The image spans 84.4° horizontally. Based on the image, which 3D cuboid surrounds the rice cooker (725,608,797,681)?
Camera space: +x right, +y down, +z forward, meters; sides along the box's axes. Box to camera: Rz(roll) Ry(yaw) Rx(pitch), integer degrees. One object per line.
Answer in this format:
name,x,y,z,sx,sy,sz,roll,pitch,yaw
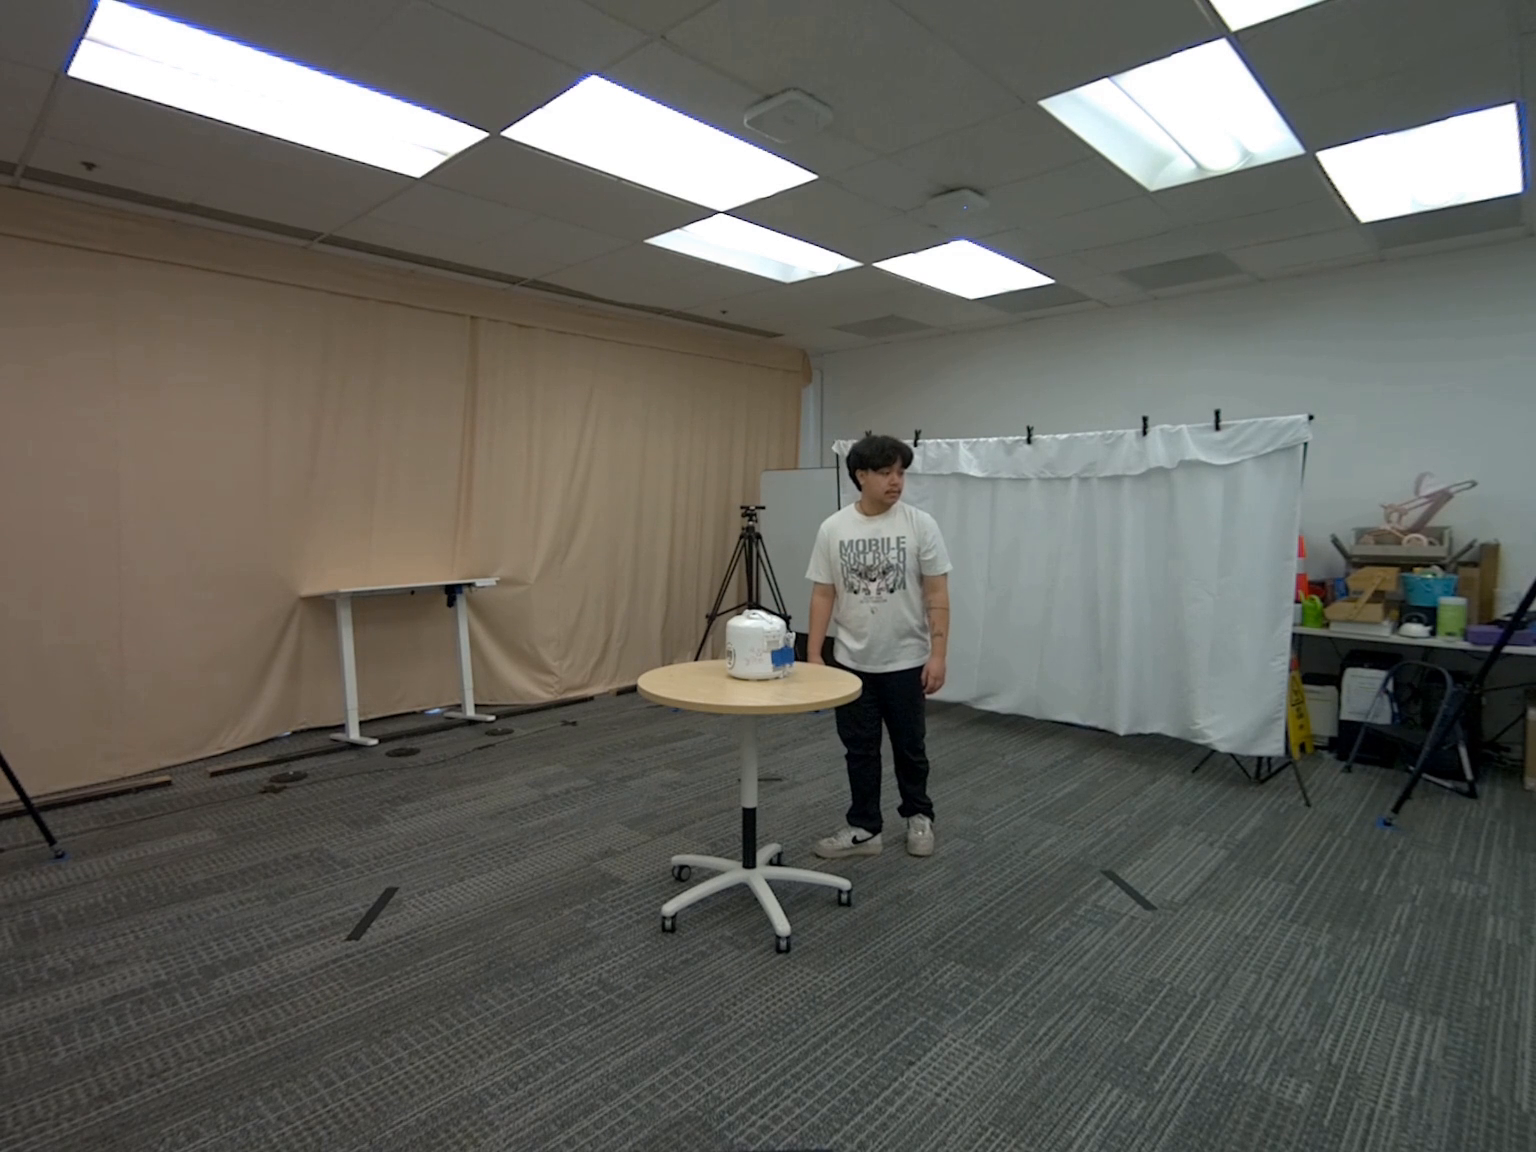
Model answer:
rice cooker,-0.042,0.233,2.934,0.211,0.232,0.227,-1,4,-32
